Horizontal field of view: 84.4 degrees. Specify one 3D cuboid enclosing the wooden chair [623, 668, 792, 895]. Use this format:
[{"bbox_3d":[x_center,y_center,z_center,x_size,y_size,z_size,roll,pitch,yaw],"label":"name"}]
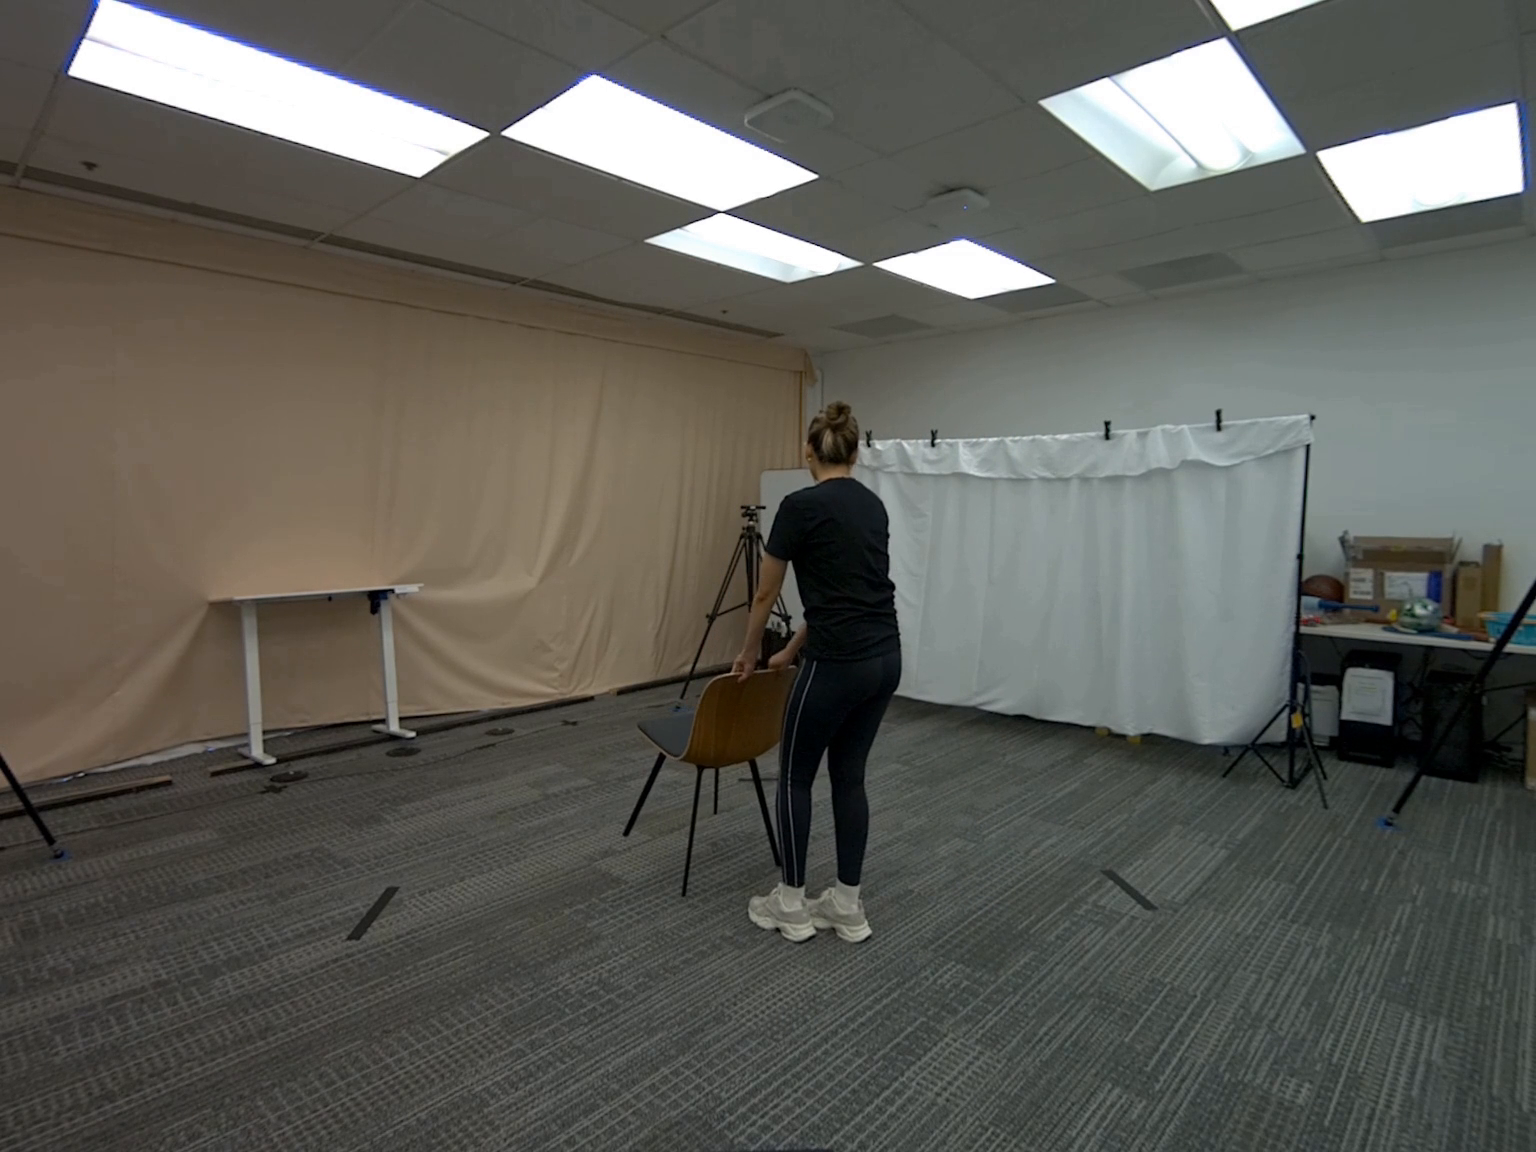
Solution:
[{"bbox_3d":[-0.222,0.666,3.219,0.464,0.871,0.542,-3,19,-37],"label":"wooden chair"}]
